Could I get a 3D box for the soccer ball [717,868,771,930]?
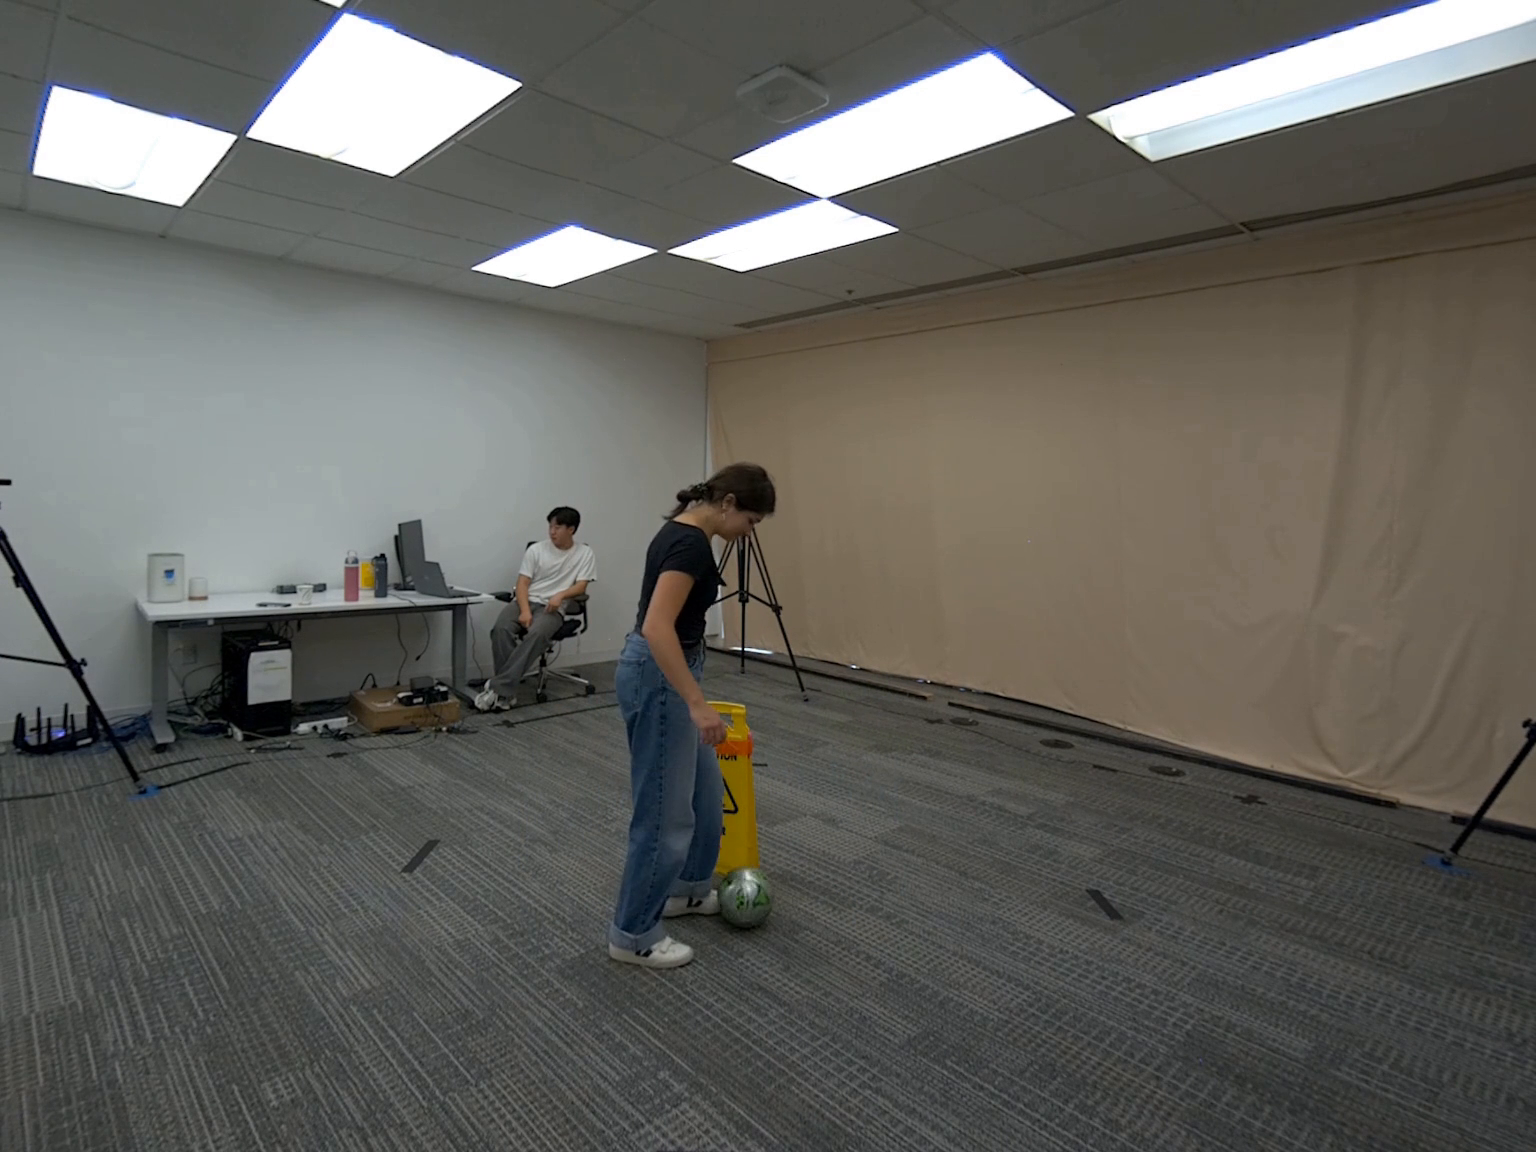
[{"bbox_3d":[-0.084,1.056,2.734,0.187,0.187,0.188,1,4,-1],"label":"soccer ball"}]
